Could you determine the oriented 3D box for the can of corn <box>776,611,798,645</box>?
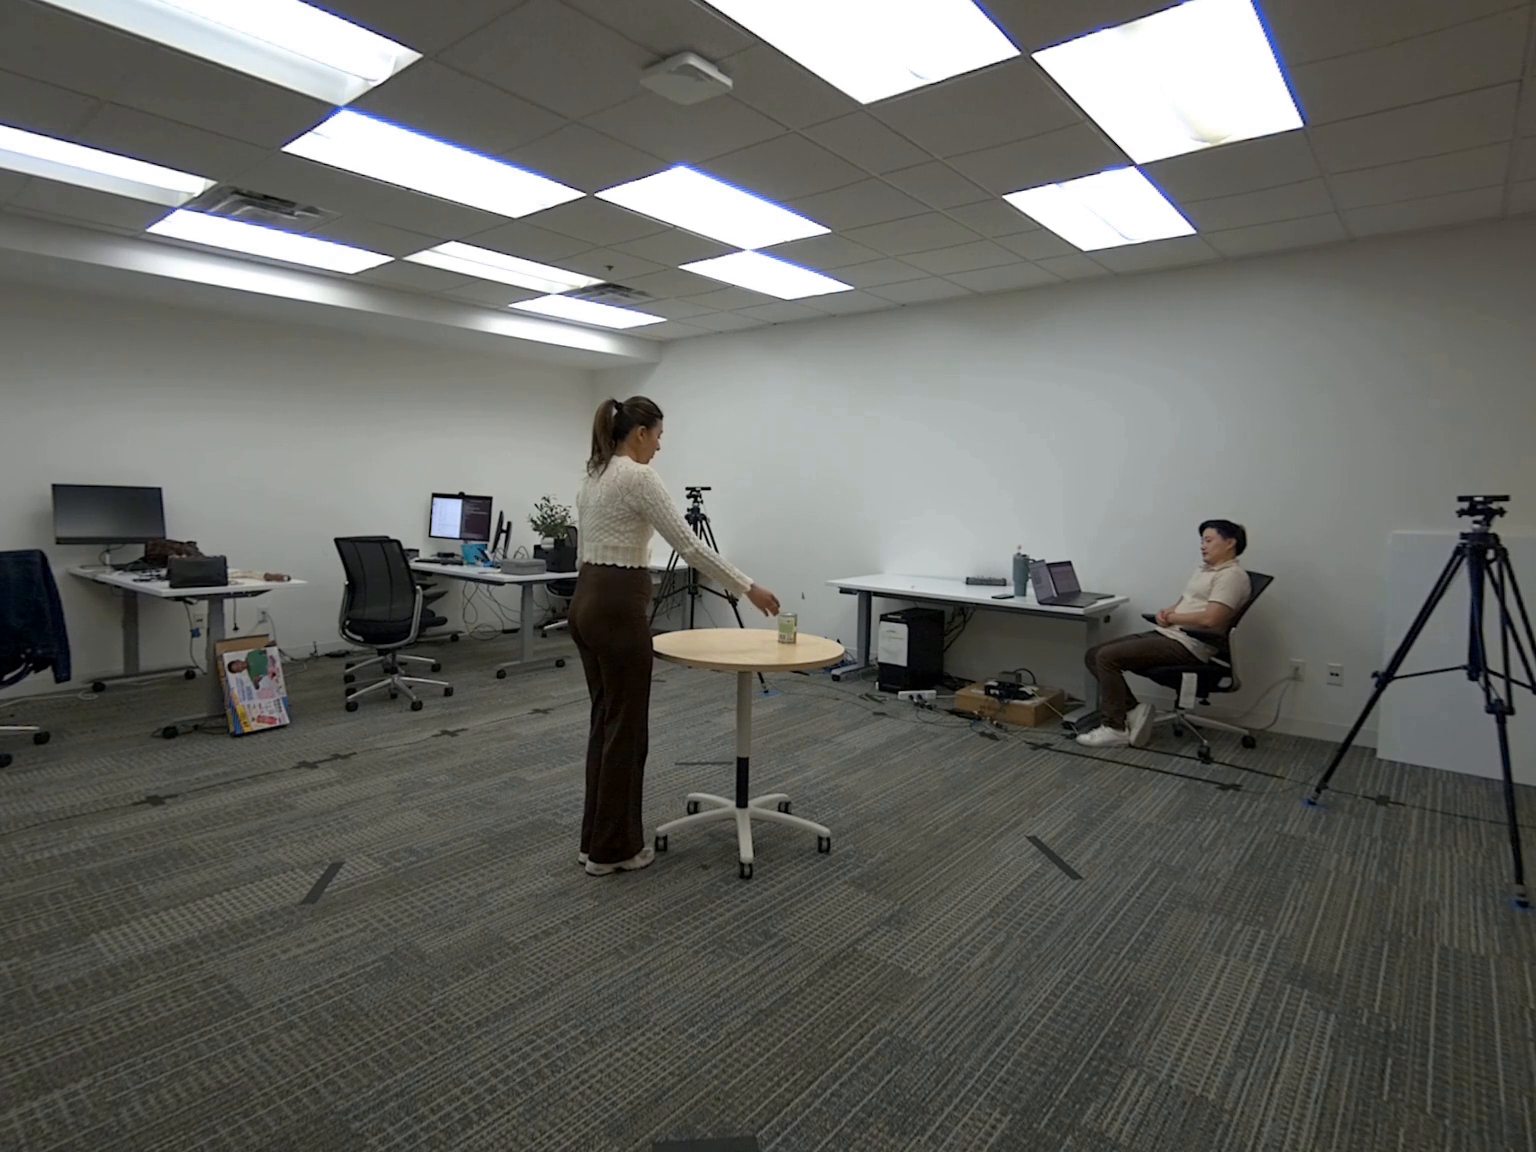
[{"bbox_3d":[0.065,0.206,3.384,0.074,0.110,0.074,1,5,-2],"label":"can of corn"}]
